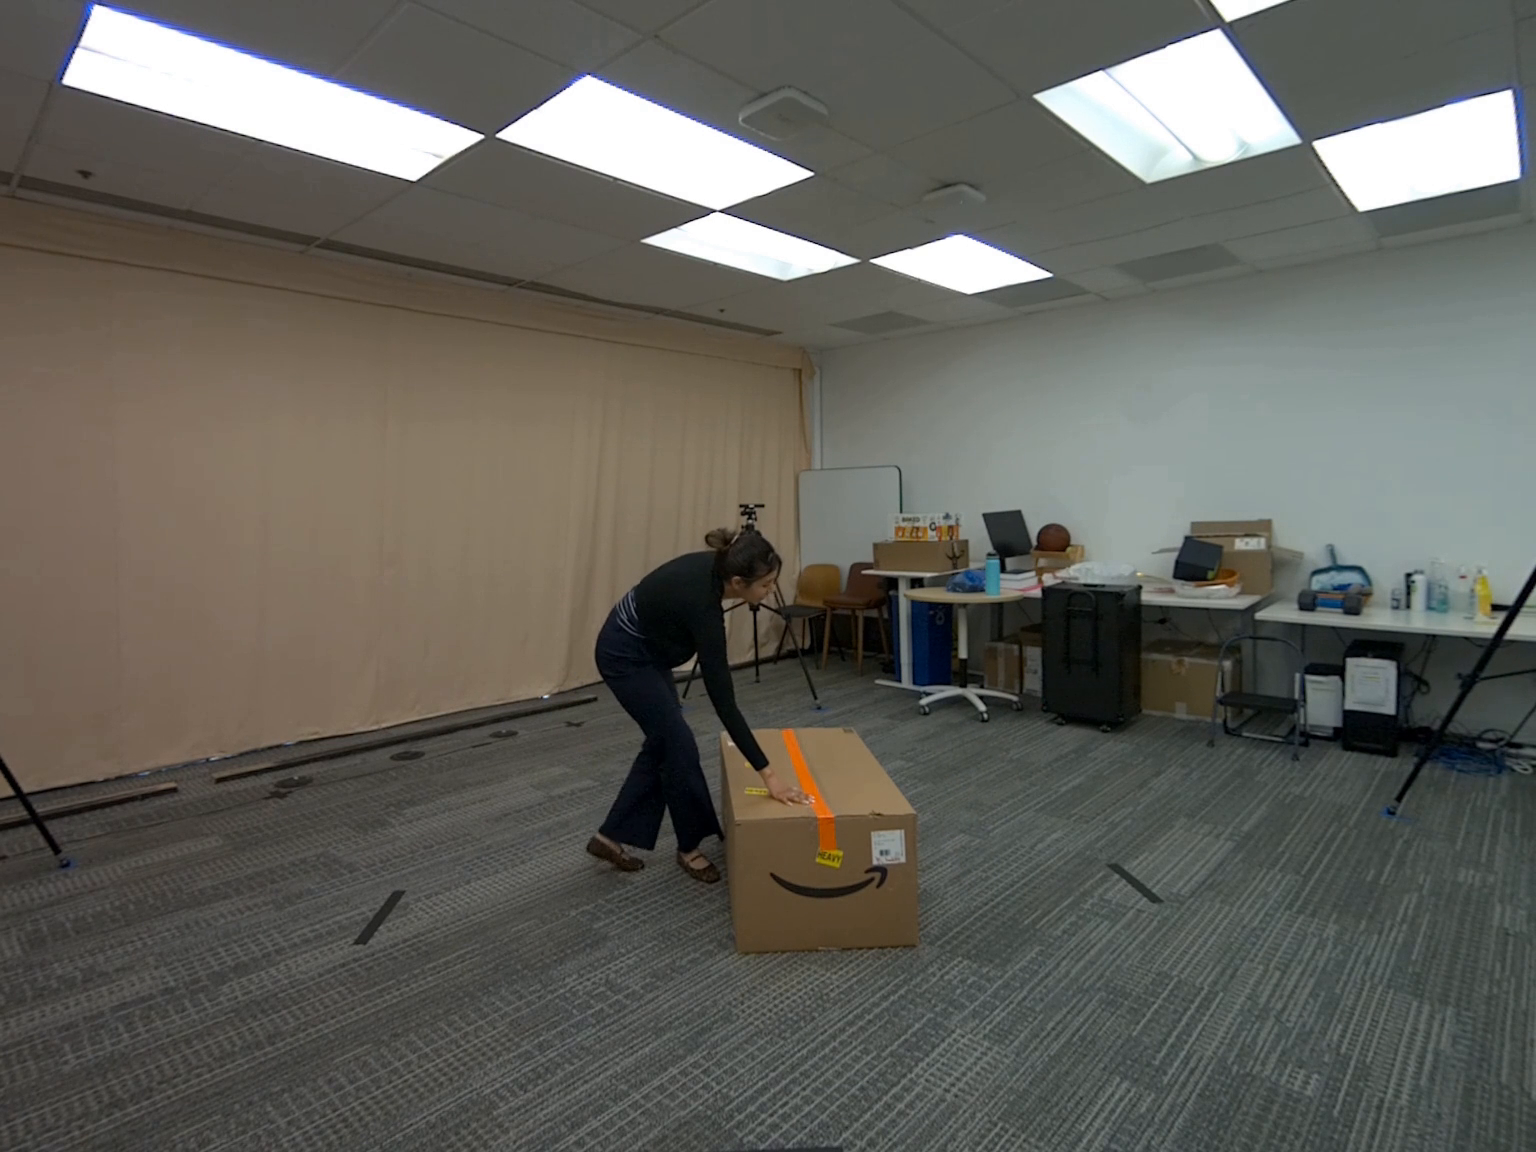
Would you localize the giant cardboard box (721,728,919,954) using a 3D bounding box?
[{"bbox_3d":[0.140,0.910,3.120,0.575,0.425,1.033,-2,5,-5],"label":"giant cardboard box"}]
